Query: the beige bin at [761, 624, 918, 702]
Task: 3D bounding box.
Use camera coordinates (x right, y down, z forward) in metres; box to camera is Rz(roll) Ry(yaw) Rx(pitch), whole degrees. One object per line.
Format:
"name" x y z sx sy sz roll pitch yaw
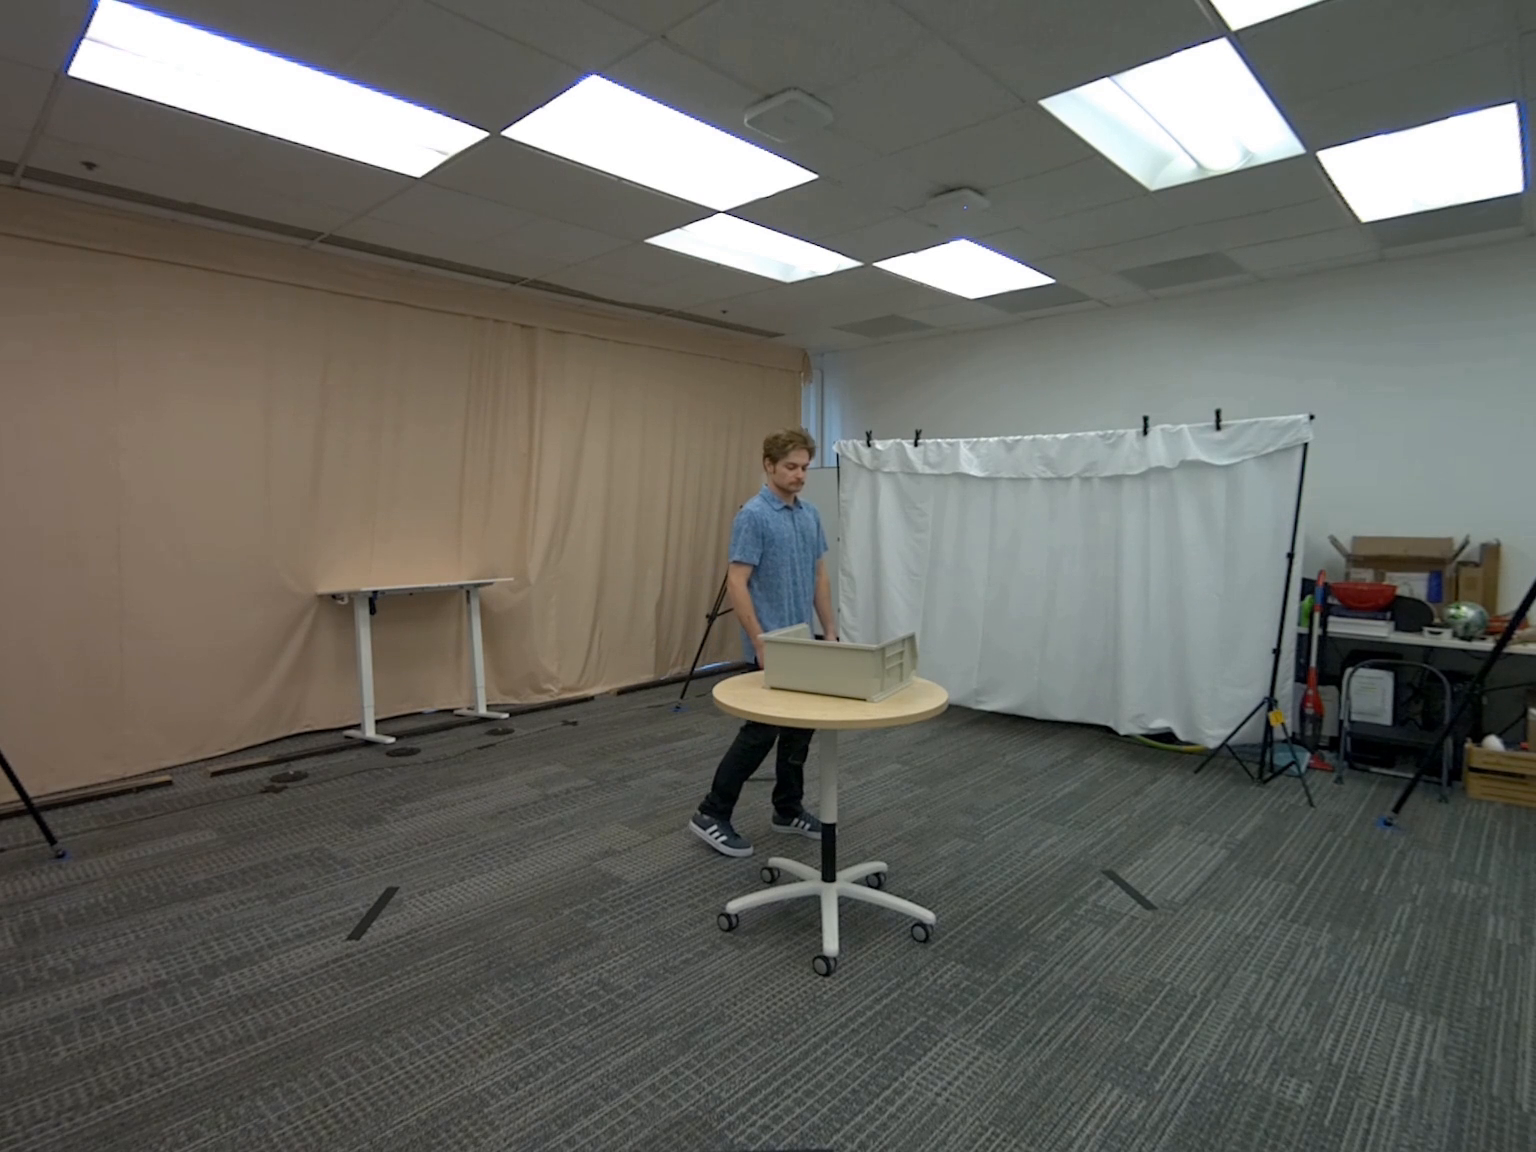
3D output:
"beige bin" 0.247 0.284 2.854 0.435 0.188 0.367 3 7 32
